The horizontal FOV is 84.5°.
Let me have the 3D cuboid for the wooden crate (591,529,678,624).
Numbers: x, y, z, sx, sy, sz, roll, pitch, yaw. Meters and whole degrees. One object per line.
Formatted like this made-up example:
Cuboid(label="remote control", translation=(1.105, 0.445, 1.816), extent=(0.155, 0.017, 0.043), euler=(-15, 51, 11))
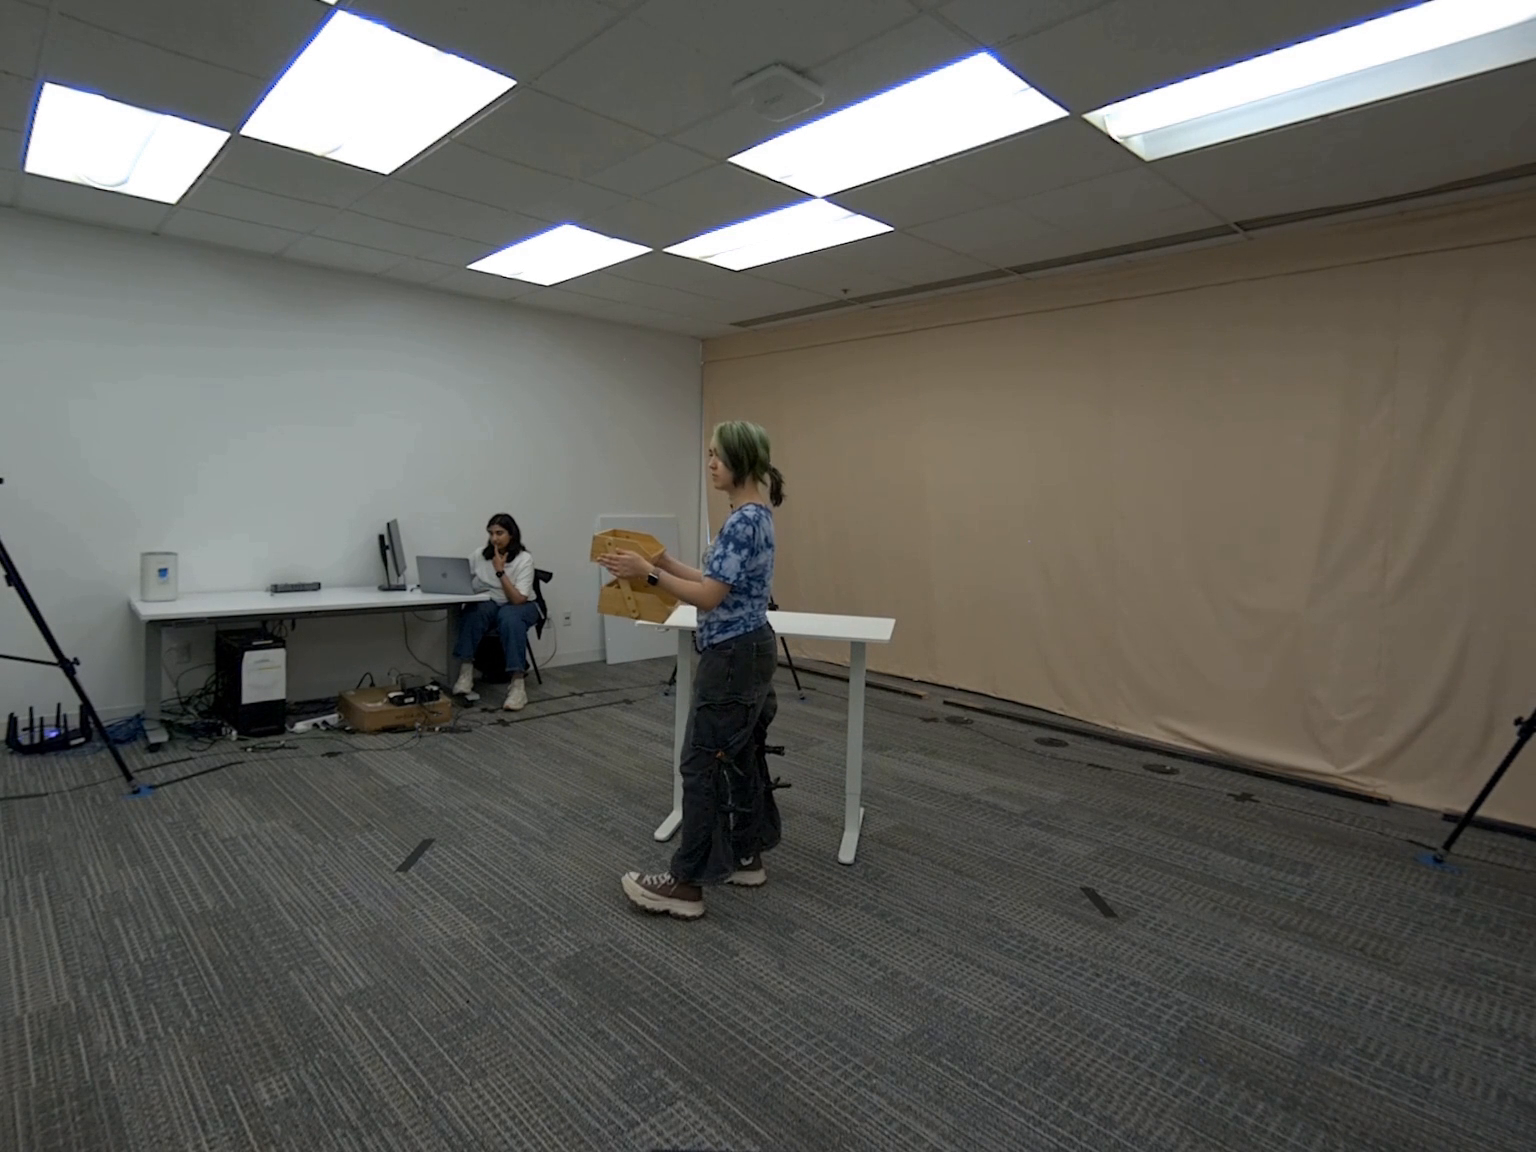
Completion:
Cuboid(label="wooden crate", translation=(-0.460, -0.003, 2.956), extent=(0.304, 0.272, 0.324), euler=(11, 8, 6))
